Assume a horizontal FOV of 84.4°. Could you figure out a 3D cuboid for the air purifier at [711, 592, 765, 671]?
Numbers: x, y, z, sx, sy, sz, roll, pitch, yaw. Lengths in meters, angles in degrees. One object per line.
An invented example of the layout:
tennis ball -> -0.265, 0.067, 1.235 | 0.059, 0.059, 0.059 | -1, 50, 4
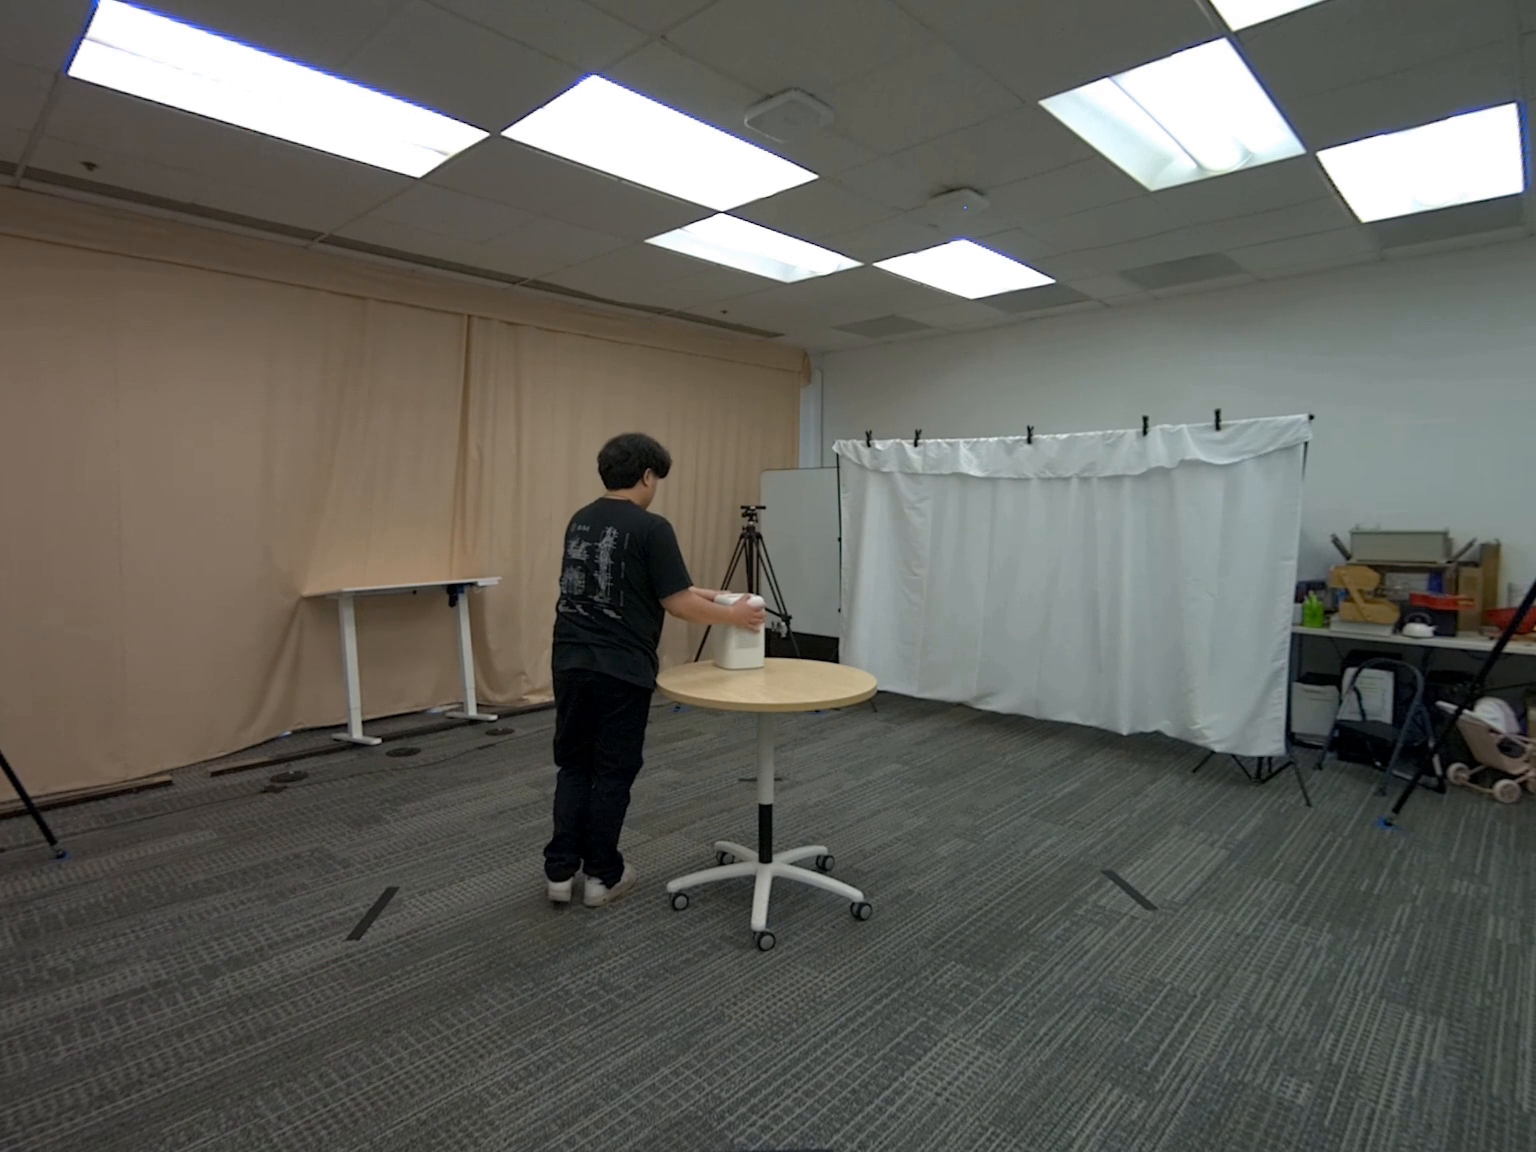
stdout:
air purifier -> -0.106, 0.205, 3.148 | 0.168, 0.265, 0.175 | -1, 3, -22
